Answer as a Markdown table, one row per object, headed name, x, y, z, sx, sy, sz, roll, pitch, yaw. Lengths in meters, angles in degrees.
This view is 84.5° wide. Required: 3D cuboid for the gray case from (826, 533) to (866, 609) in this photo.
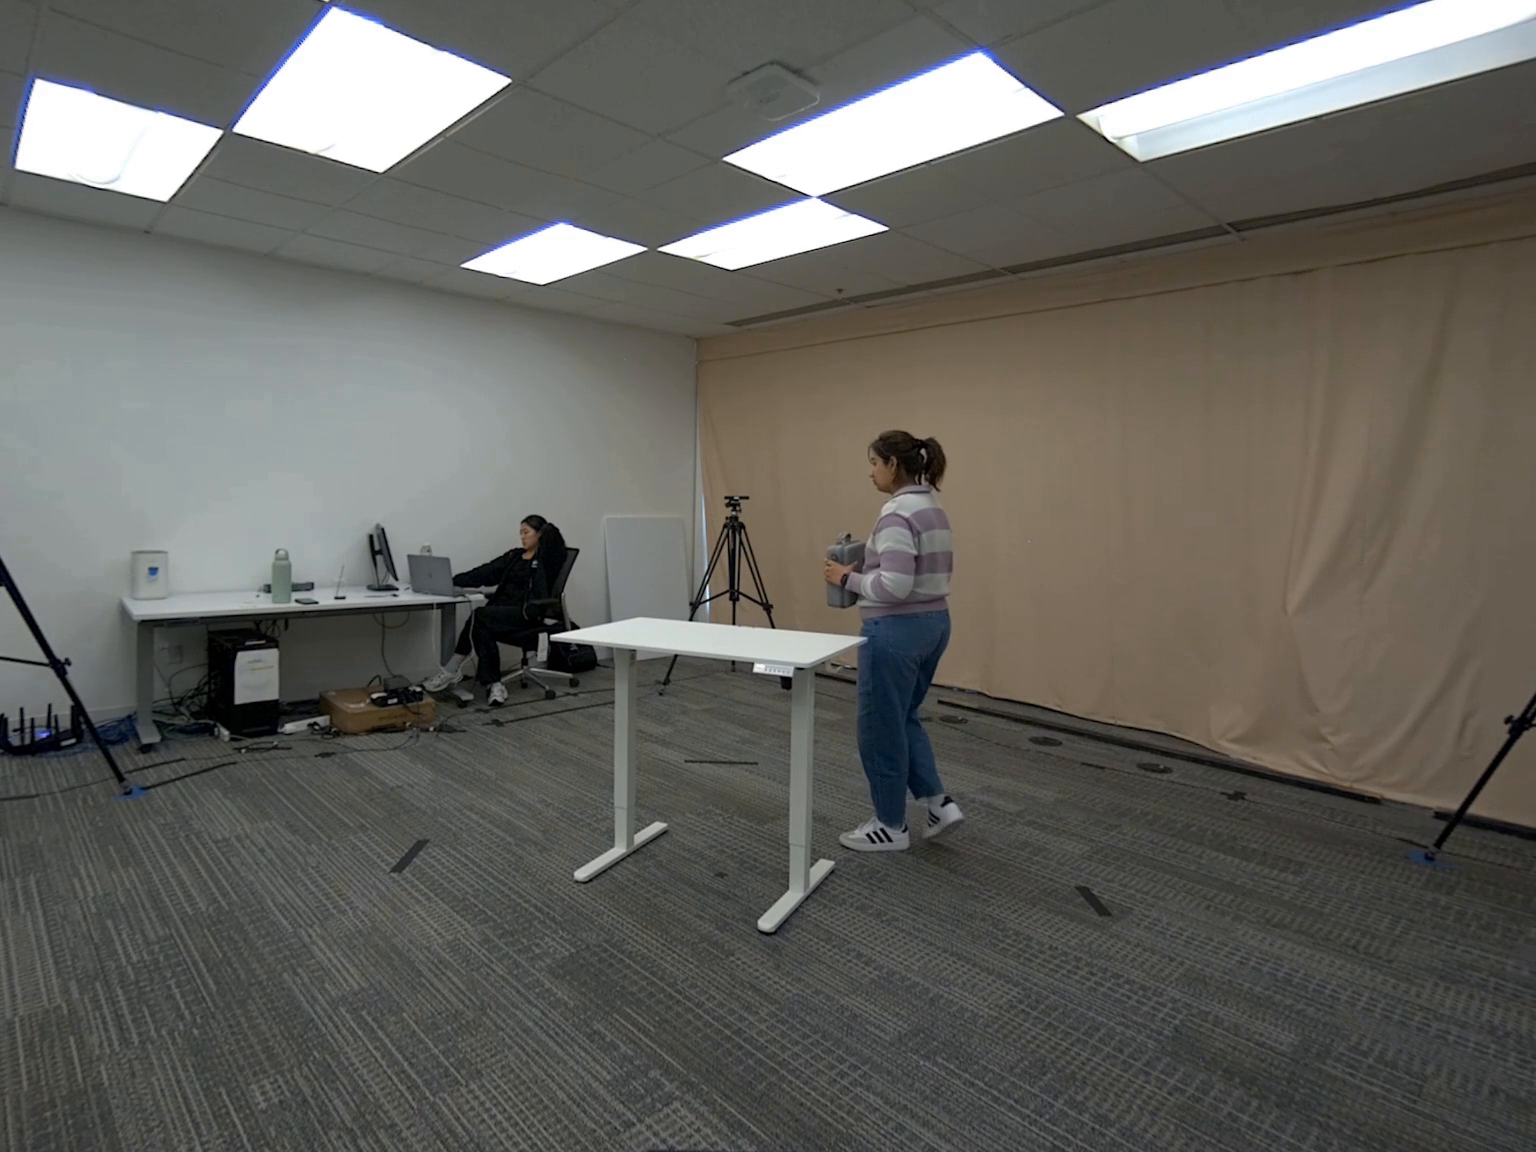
| name | x | y | z | sx | sy | sz | roll | pitch | yaw |
| --- | --- | --- | --- | --- | --- | --- | --- | --- | --- |
| gray case | 0.319 | -0.010 | 3.438 | 0.106 | 0.260 | 0.253 | -2 | 5 | 23 |
